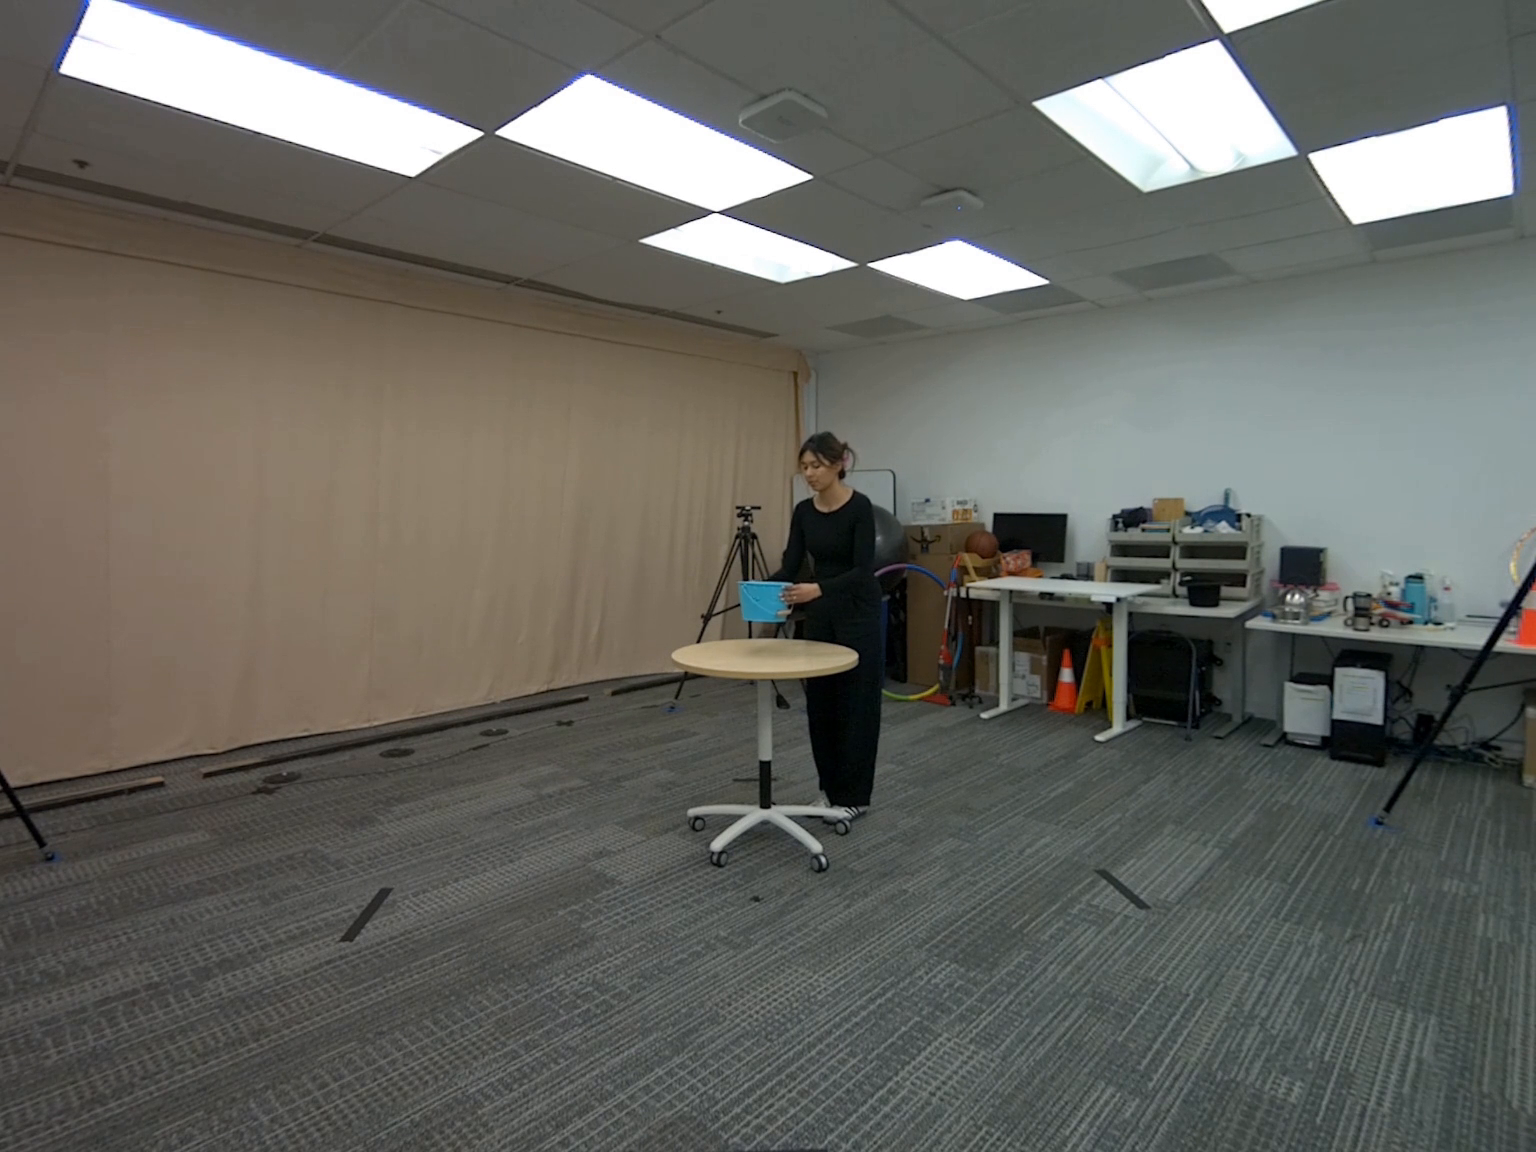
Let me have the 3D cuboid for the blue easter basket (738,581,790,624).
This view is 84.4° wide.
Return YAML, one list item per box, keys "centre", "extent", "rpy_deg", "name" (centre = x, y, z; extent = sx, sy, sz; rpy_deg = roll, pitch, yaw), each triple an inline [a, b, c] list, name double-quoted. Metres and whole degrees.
- centre: [-0.011, 0.107, 3.453]
  extent: [0.243, 0.156, 0.244]
  rpy_deg: [1, 2, -2]
  name: "blue easter basket"
